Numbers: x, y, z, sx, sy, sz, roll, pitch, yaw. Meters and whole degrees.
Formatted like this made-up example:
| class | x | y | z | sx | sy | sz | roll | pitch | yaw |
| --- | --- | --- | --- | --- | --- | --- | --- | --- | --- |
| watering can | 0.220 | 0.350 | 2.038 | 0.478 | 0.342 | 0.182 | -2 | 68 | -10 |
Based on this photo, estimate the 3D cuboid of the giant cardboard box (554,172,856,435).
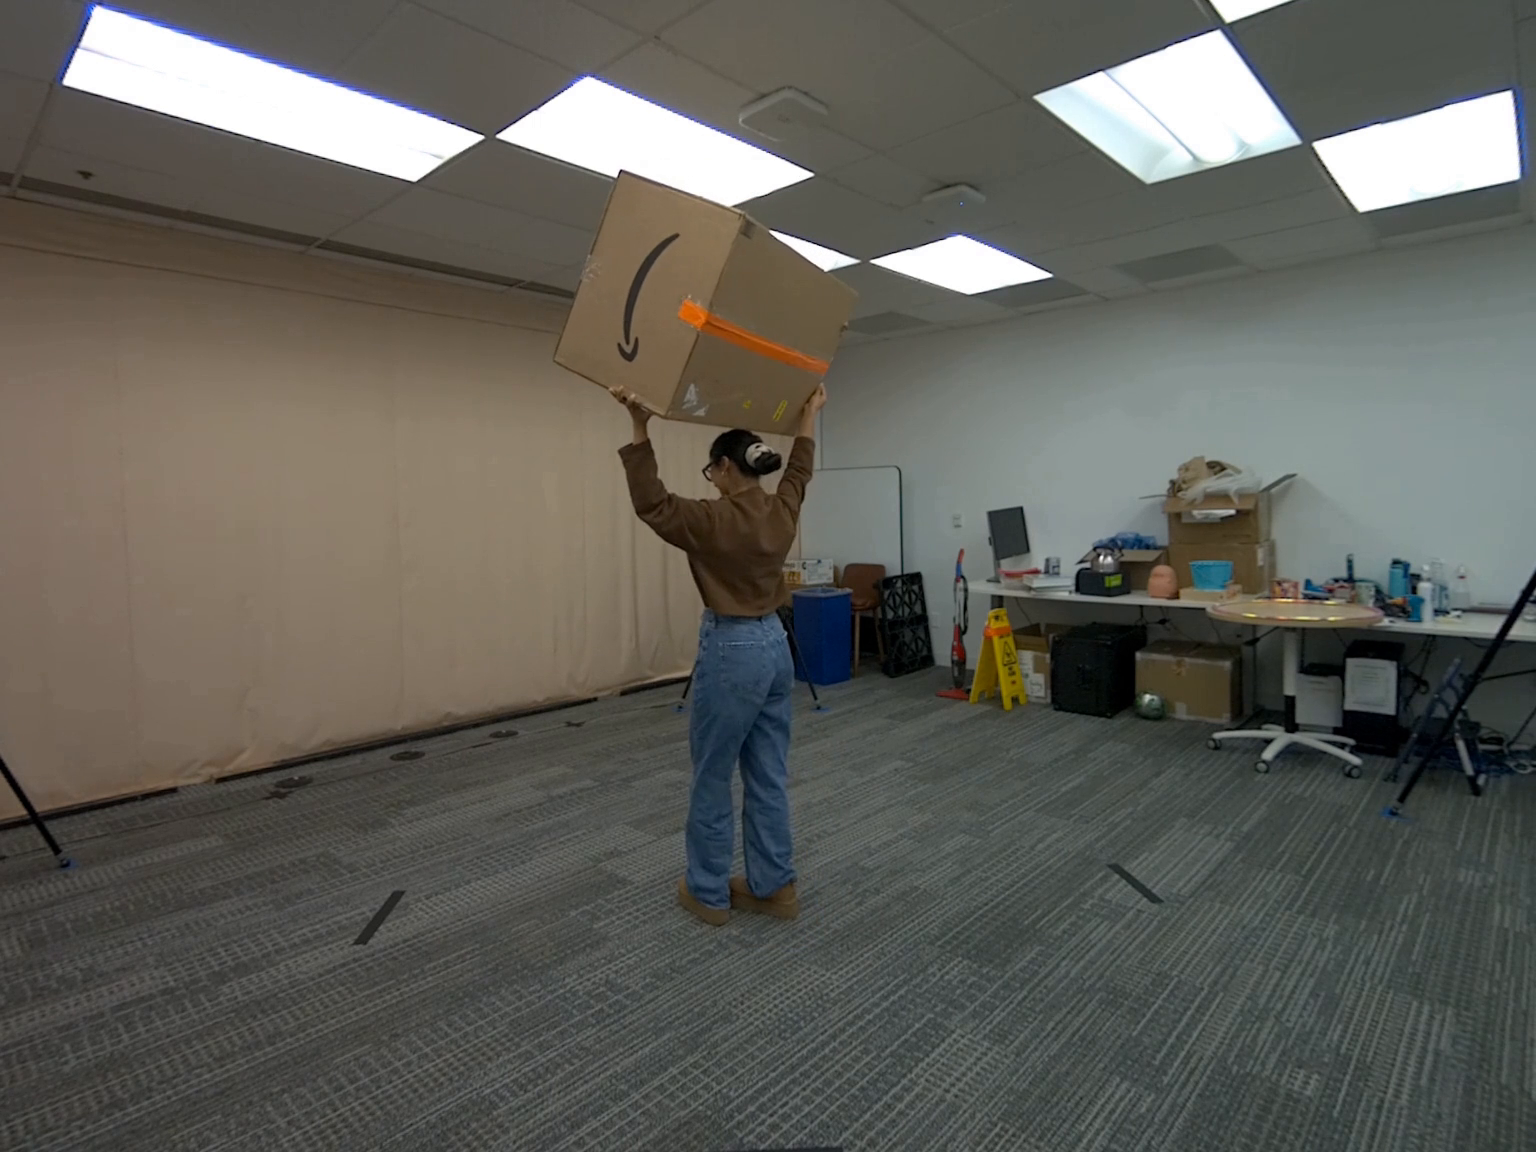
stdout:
| class | x | y | z | sx | sy | sz | roll | pitch | yaw |
| --- | --- | --- | --- | --- | --- | --- | --- | --- | --- |
| giant cardboard box | -0.149 | -0.826 | 2.780 | 0.436 | 0.576 | 1.003 | 30 | 16 | 19 |
